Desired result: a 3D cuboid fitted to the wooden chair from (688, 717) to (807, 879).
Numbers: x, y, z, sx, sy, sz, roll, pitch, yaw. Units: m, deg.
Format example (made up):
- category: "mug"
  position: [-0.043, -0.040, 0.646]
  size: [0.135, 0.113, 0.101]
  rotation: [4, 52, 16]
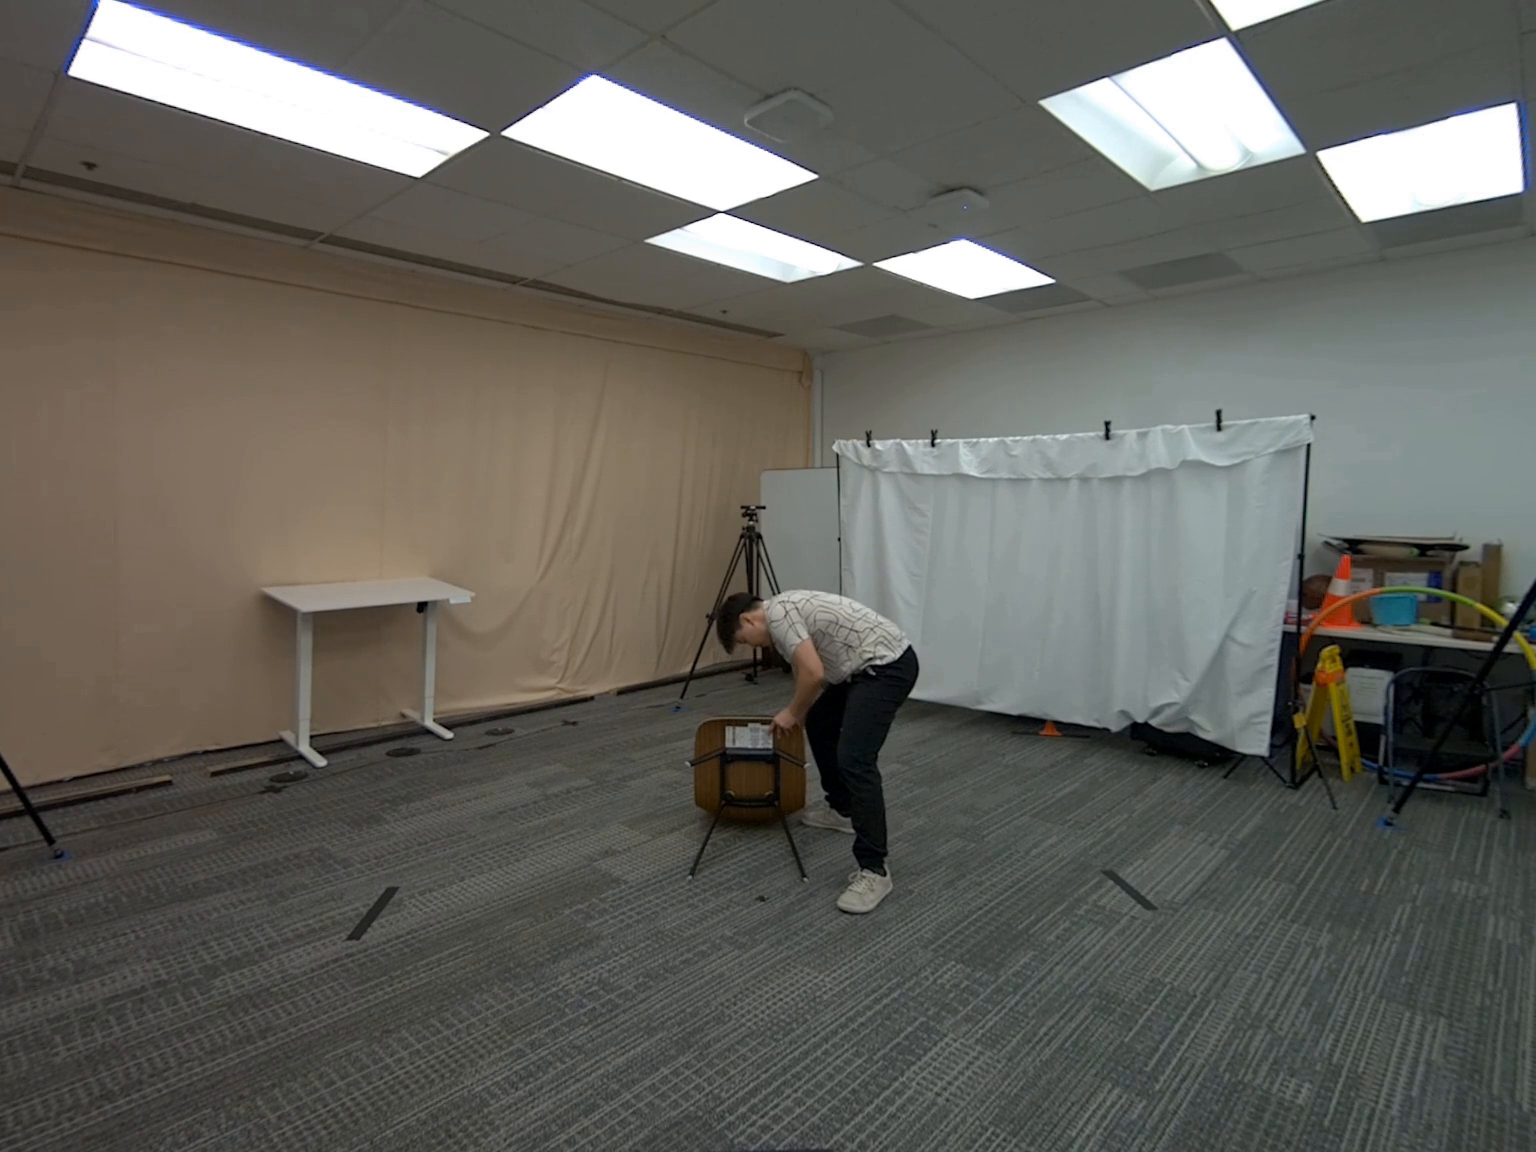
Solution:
- category: "wooden chair"
  position: [-0.073, 0.845, 3.515]
  size: [0.479, 0.522, 0.876]
  rotation: [0, 3, 1]
